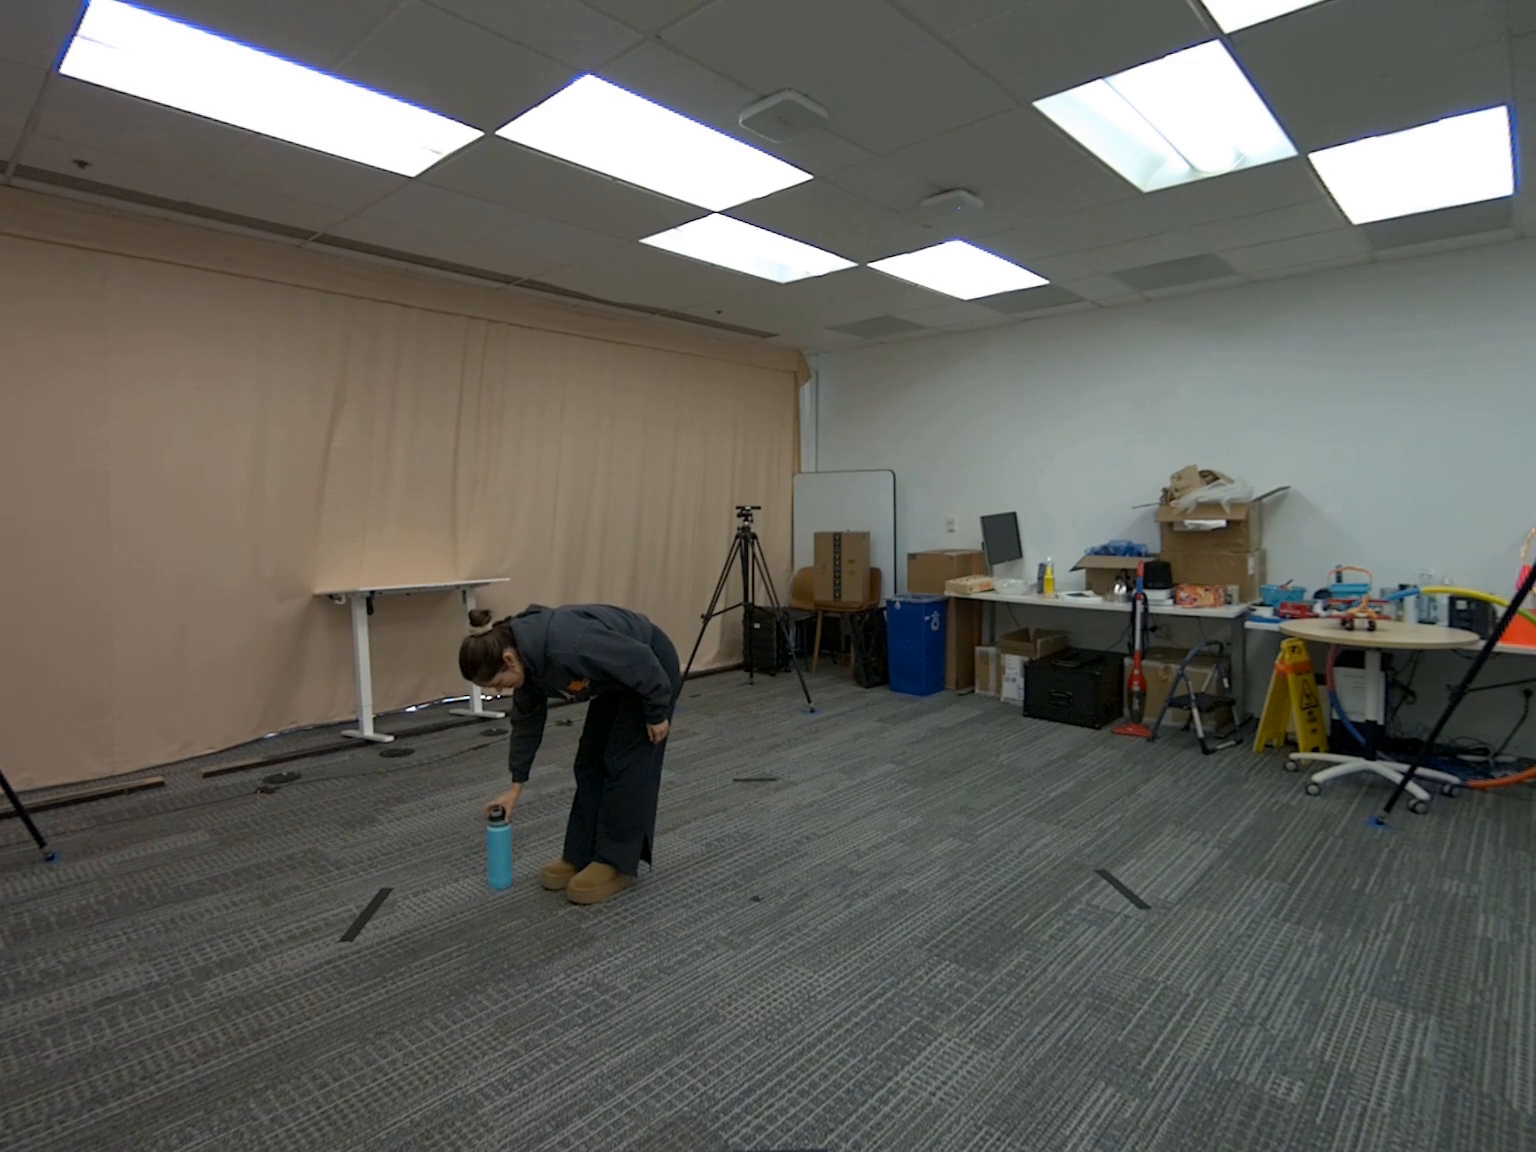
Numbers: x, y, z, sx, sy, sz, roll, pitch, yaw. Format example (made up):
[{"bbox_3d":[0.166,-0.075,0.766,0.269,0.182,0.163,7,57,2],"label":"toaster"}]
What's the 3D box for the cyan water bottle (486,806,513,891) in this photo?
[{"bbox_3d":[-0.979,1.013,3.123,0.092,0.283,0.092,-1,0,-2],"label":"cyan water bottle"}]
